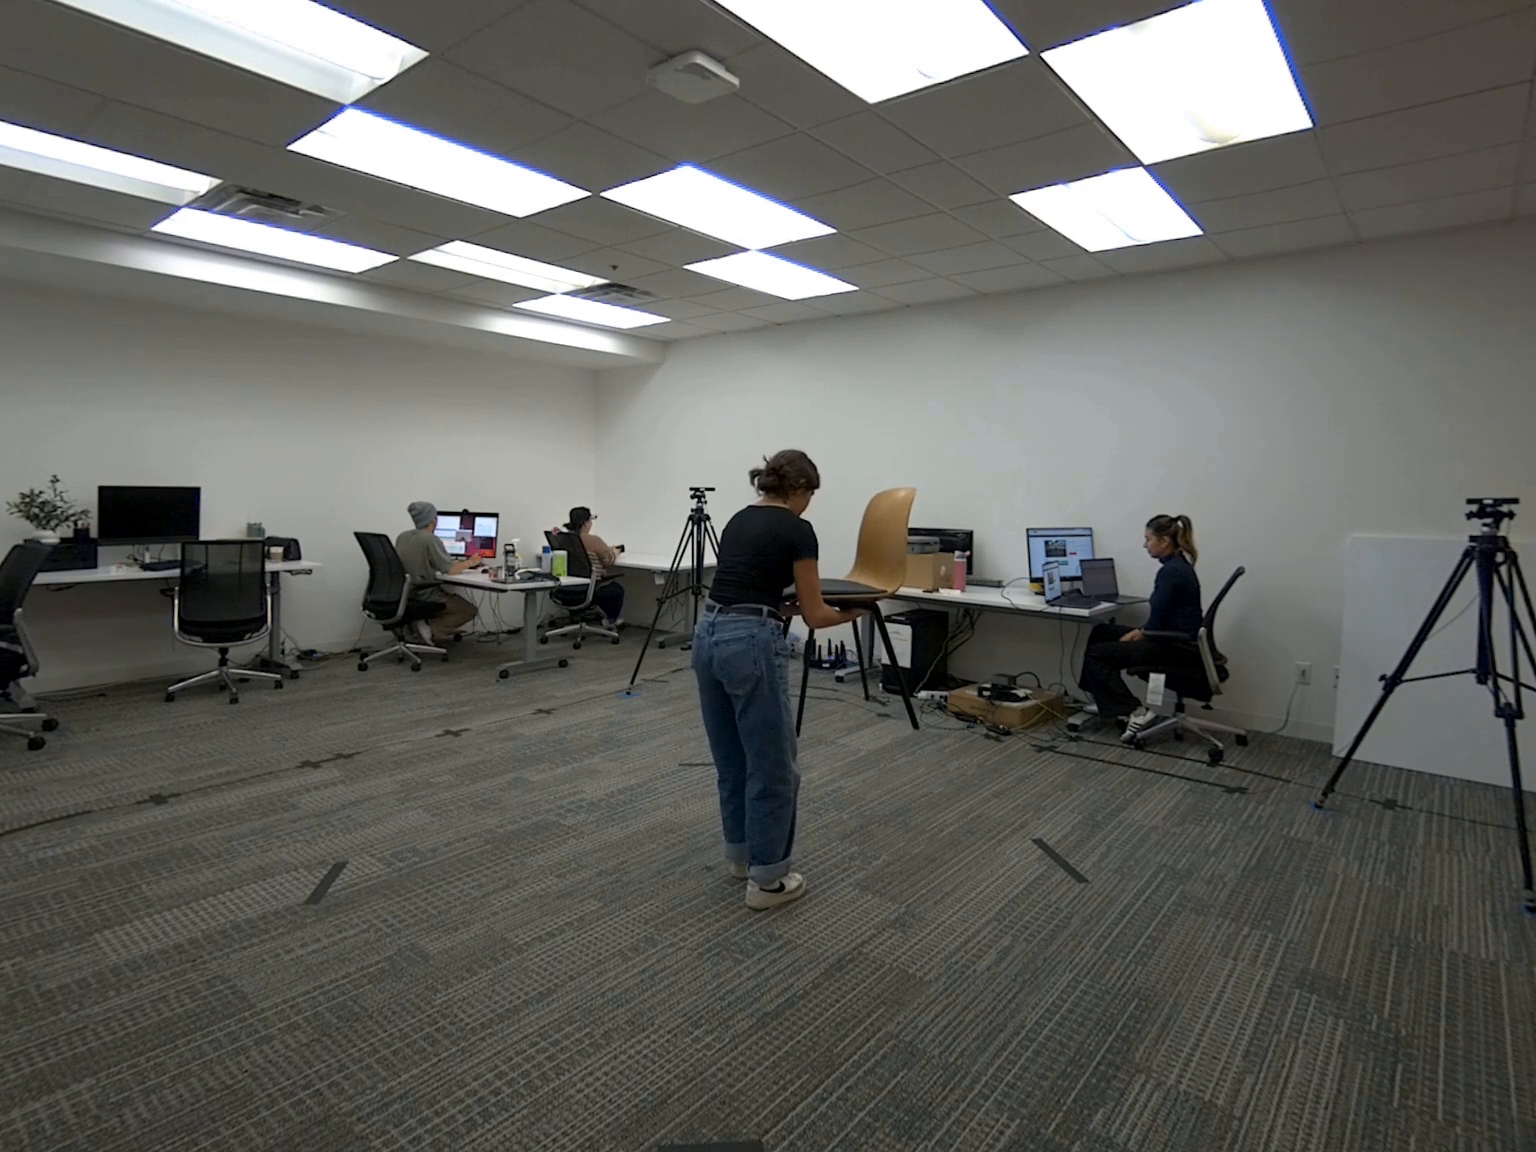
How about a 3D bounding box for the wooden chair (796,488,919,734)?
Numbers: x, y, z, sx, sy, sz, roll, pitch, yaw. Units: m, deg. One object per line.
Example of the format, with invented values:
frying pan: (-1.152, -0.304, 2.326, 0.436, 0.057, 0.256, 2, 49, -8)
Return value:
wooden chair: (0.237, 0.103, 3.103, 0.514, 0.875, 0.487, 2, 3, -16)
